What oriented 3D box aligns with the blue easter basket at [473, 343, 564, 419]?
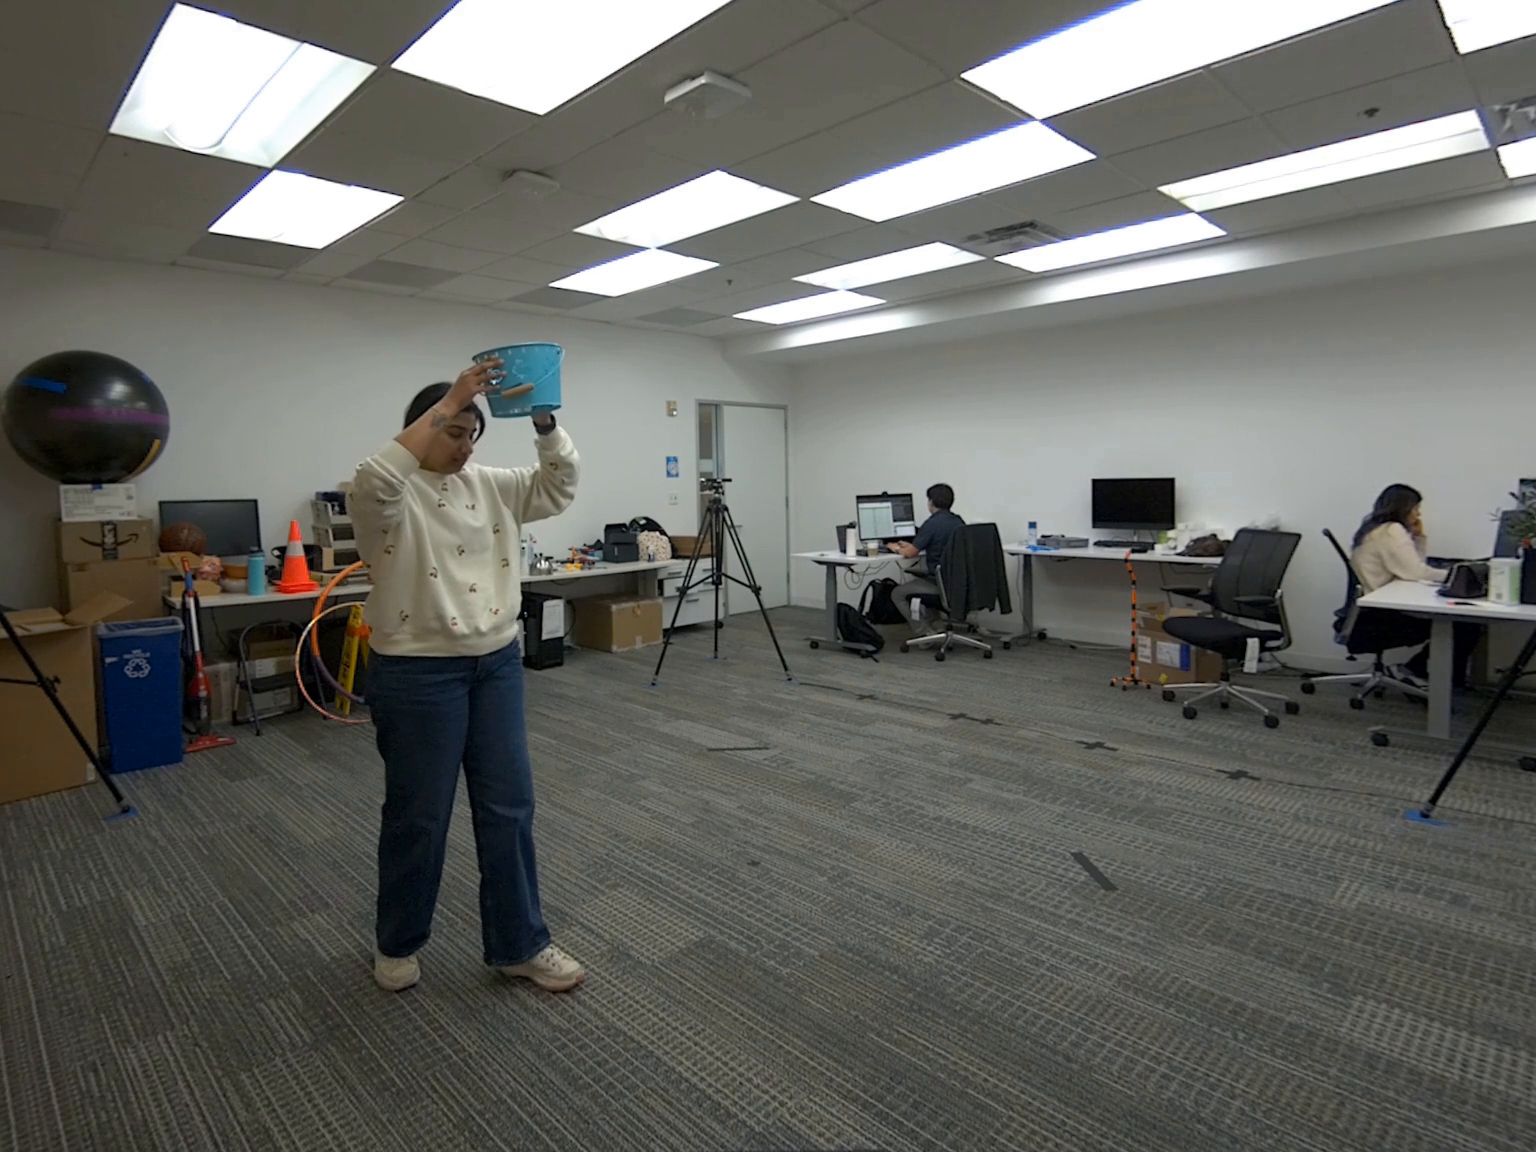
[{"bbox_3d":[-0.641,-0.505,2.202,0.243,0.155,0.245,-9,6,-1],"label":"blue easter basket"}]
